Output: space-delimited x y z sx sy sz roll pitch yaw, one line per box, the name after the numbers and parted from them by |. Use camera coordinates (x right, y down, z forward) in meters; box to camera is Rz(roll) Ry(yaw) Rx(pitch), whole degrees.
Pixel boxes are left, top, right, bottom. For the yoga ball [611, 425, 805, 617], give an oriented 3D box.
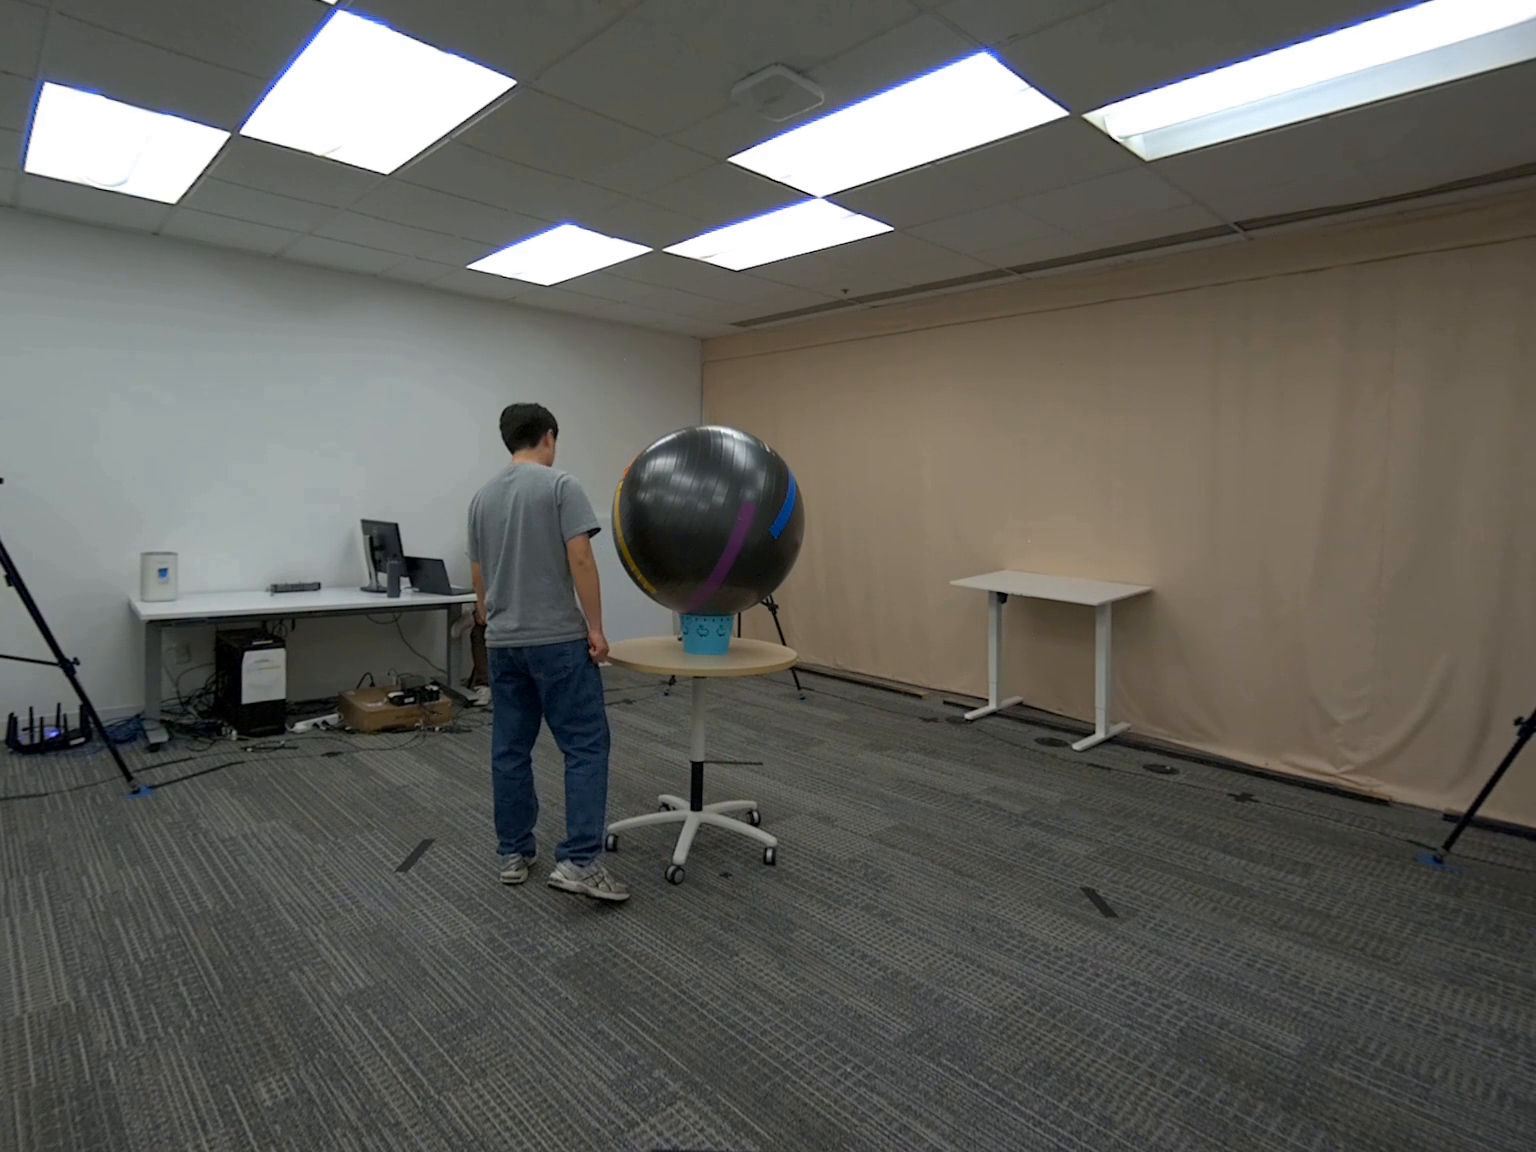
-0.240 -0.216 3.324 0.757 0.756 0.761 1 4 -1 | yoga ball
